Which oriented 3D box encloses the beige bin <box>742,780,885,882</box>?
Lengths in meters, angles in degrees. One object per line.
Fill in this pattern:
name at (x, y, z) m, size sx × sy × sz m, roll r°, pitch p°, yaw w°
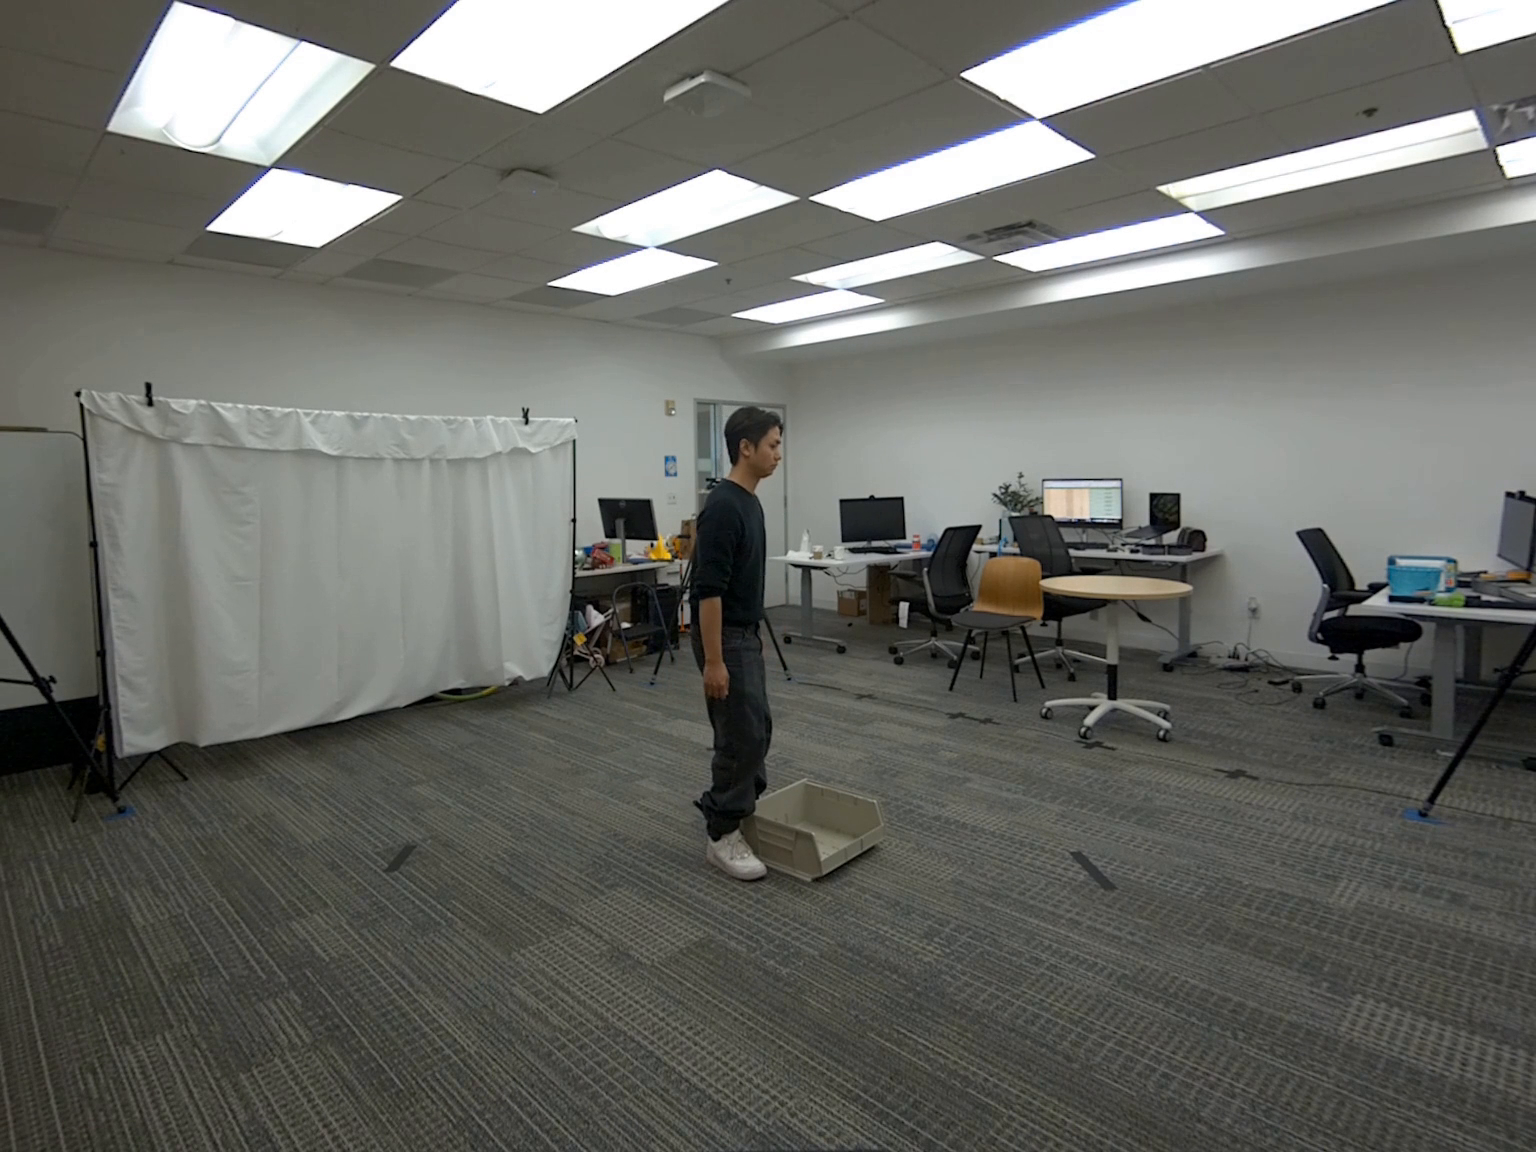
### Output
beige bin at (0.170, 0.943, 3.185) m, size 0.388 × 0.188 × 0.412 m, roll 2°, pitch 8°, yaw 41°
